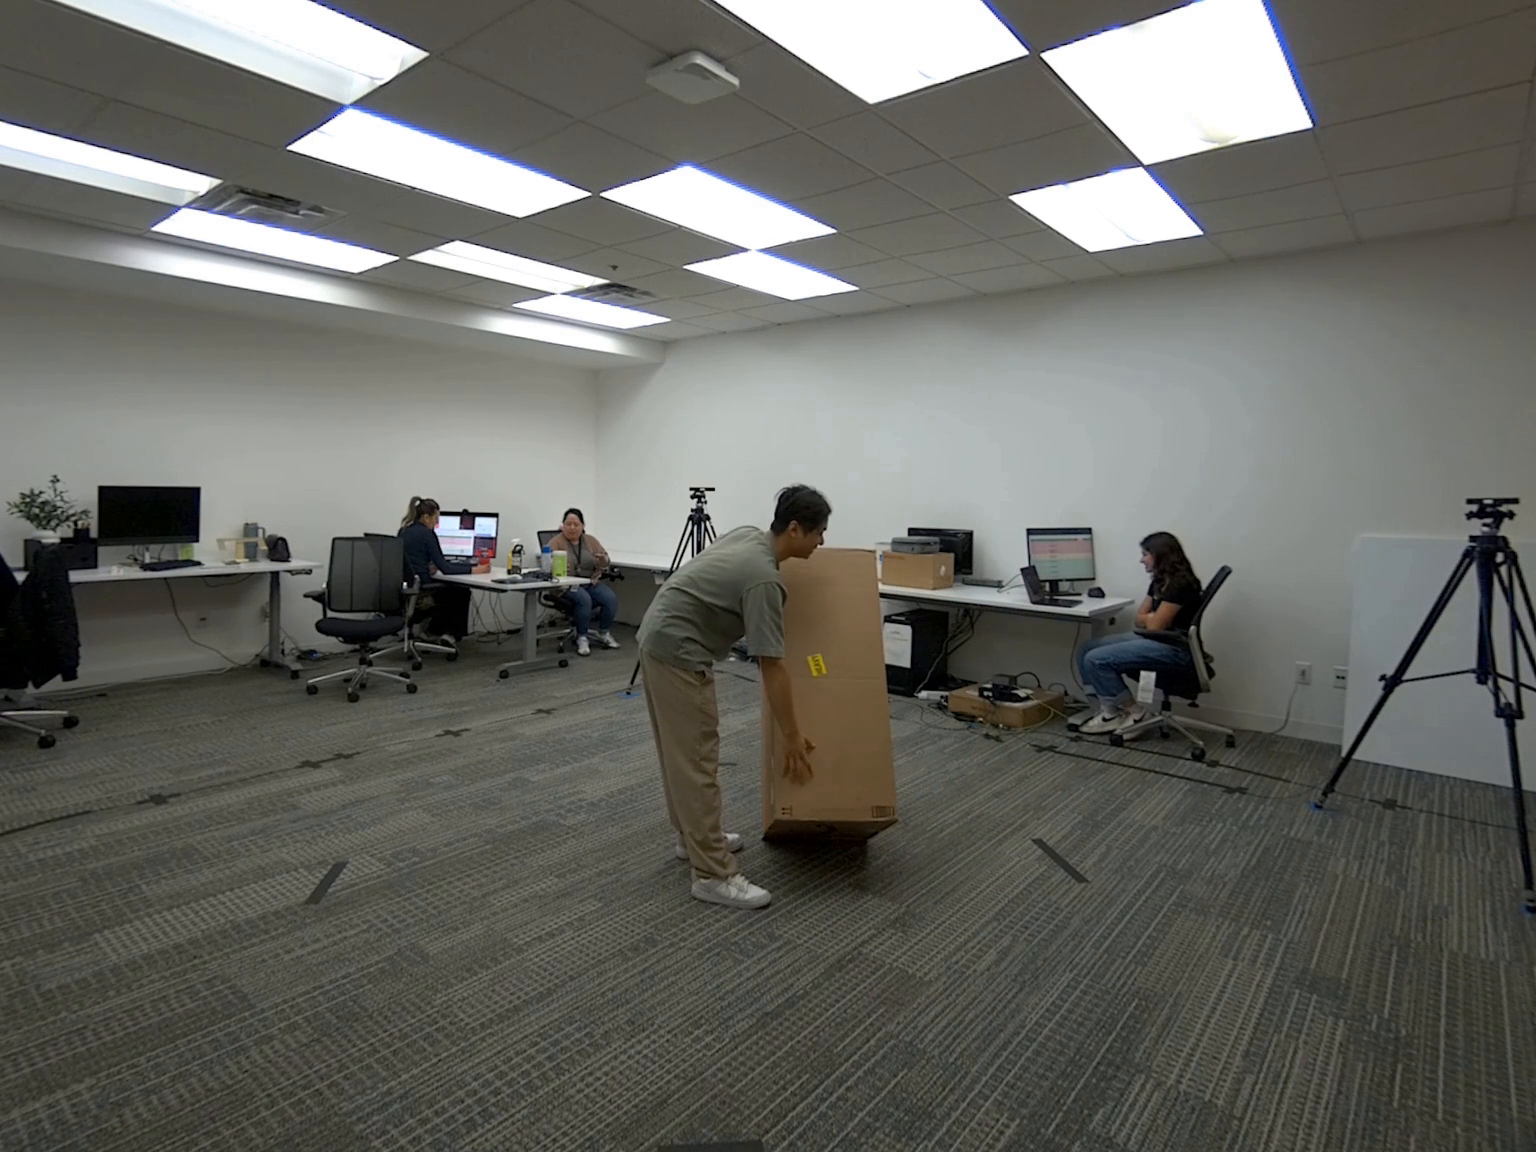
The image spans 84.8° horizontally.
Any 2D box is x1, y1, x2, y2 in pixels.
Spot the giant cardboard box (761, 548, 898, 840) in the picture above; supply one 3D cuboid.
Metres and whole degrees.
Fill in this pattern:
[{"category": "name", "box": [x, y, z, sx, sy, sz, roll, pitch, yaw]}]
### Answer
[{"category": "giant cardboard box", "box": [0.196, 0.474, 3.365, 0.425, 1.049, 0.567, 0, -24, -4]}]
